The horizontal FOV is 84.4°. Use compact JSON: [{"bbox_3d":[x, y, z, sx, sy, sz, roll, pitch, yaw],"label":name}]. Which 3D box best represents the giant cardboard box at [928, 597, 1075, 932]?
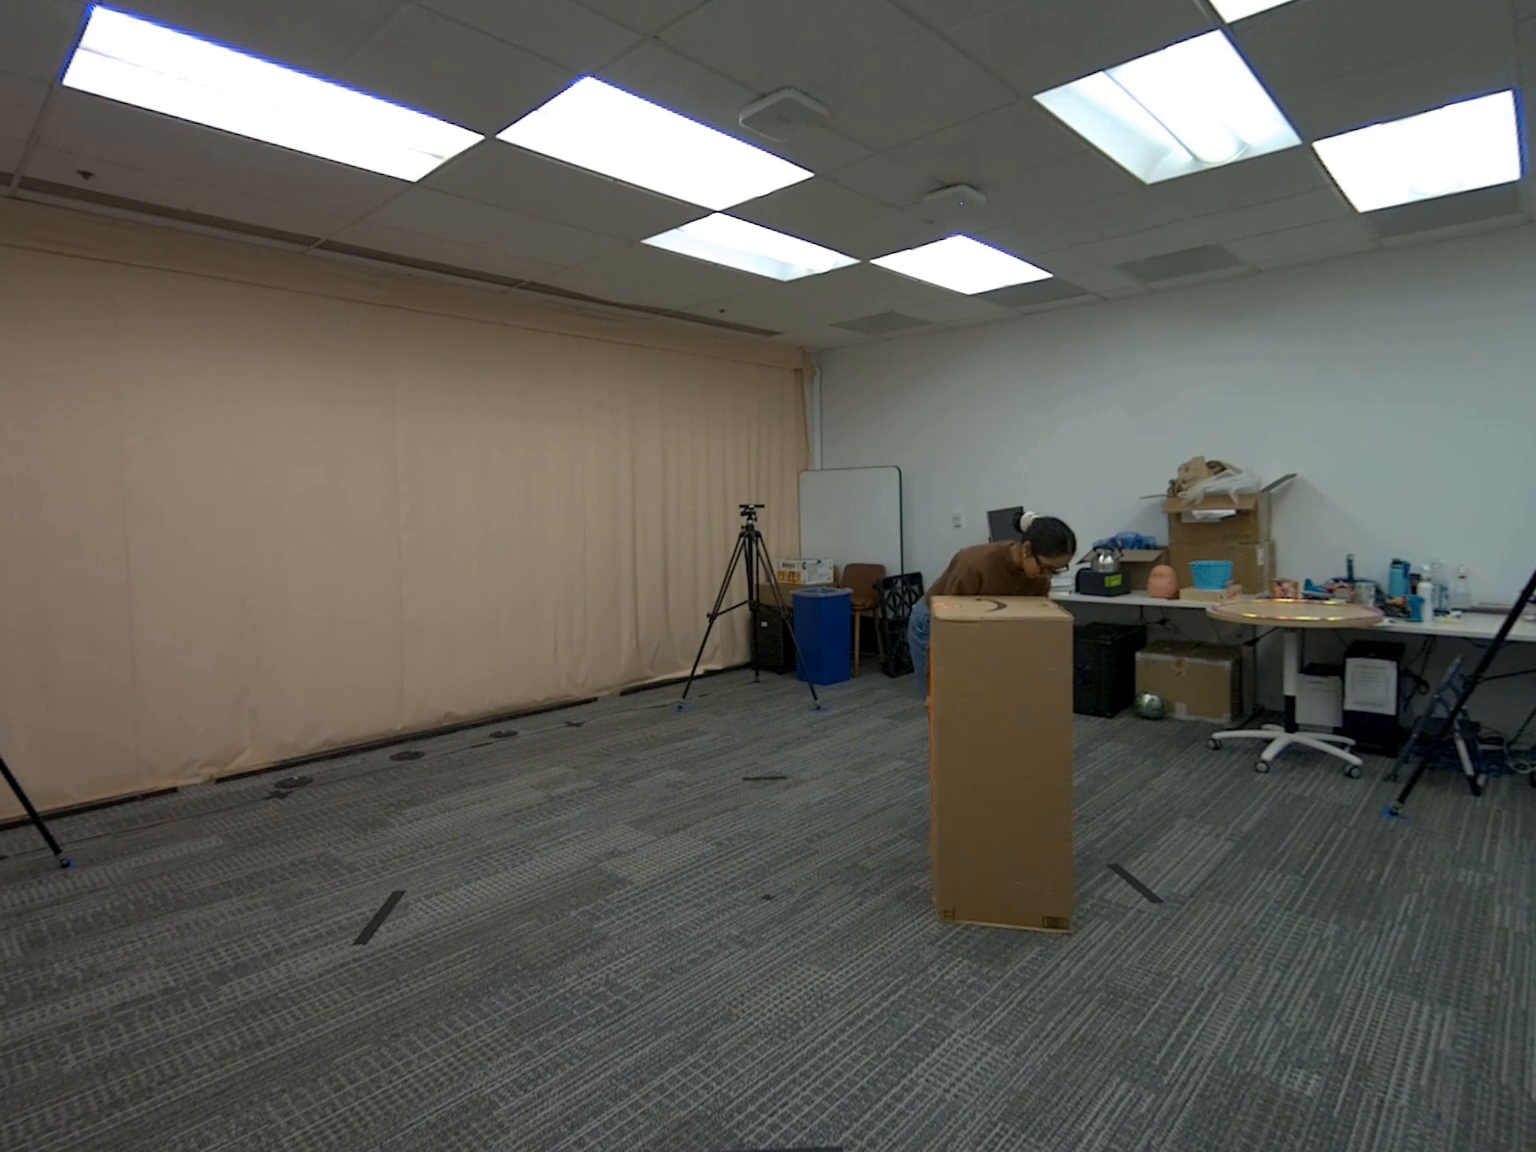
[{"bbox_3d":[0.806,0.619,2.988,0.432,1.023,0.571,-1,4,11],"label":"giant cardboard box"}]
